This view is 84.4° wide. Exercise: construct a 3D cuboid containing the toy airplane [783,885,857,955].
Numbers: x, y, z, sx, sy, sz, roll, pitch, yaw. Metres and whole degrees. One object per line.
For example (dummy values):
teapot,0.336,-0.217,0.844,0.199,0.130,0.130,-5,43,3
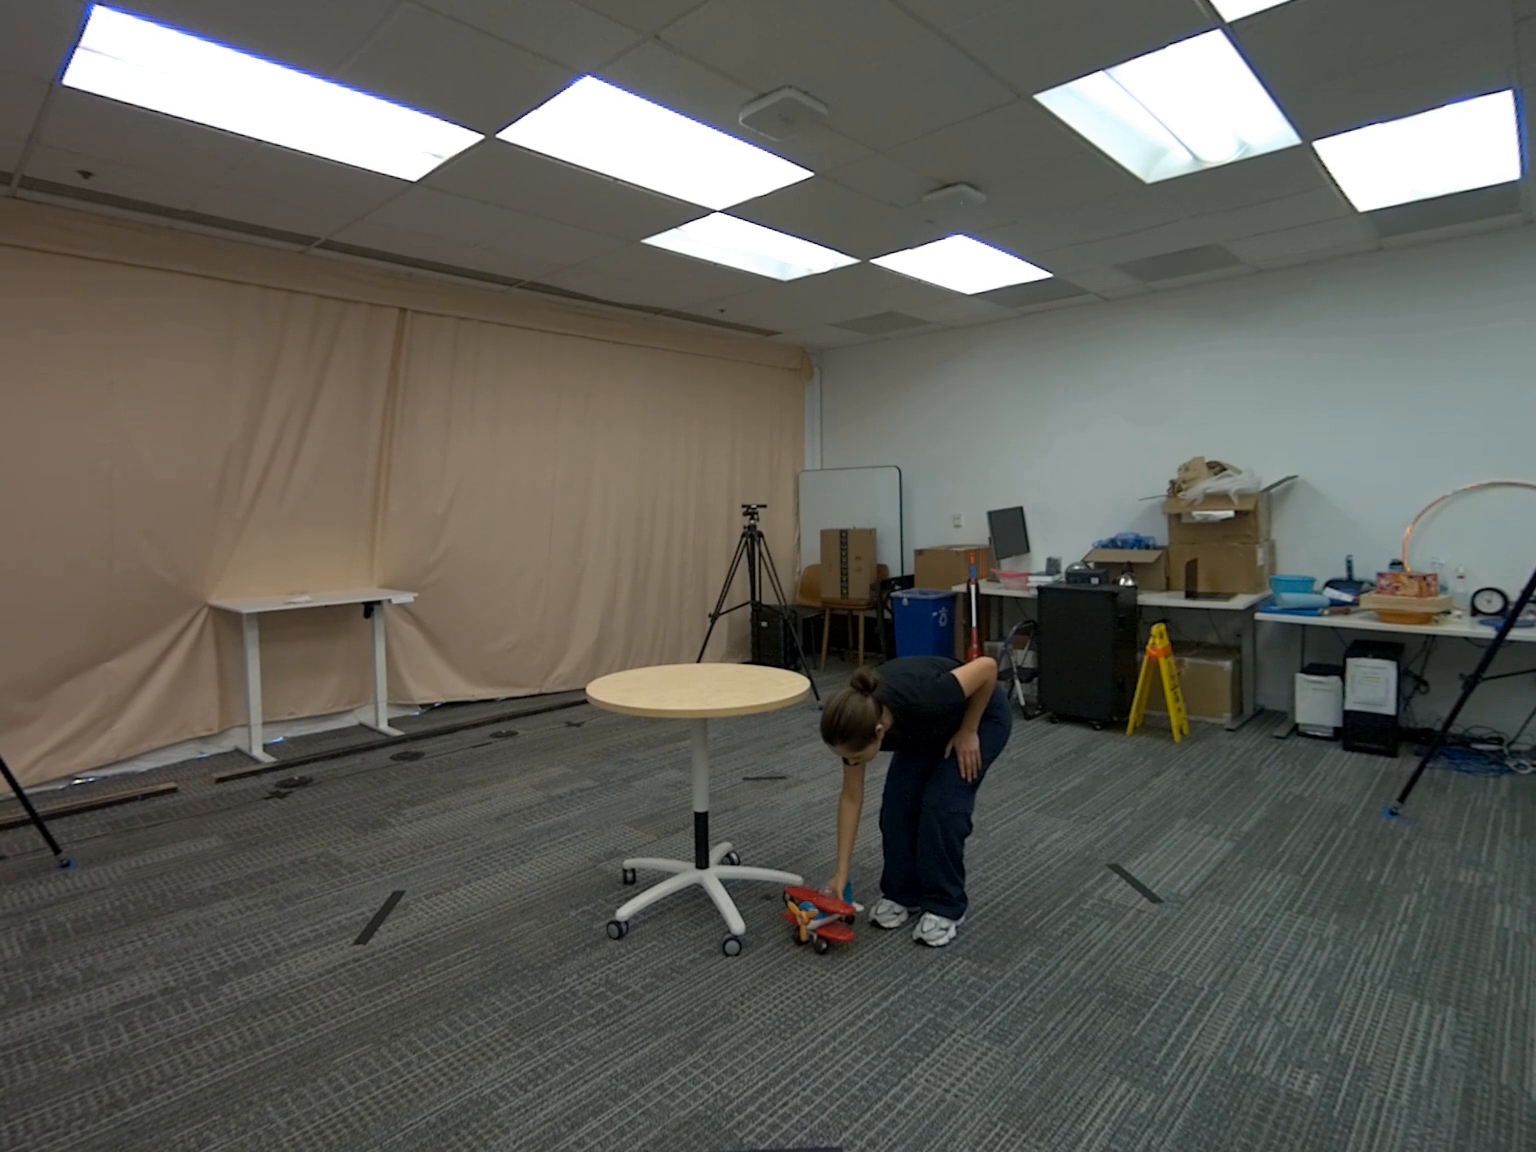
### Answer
toy airplane,0.198,1.082,2.704,0.255,0.155,0.256,-3,10,16
